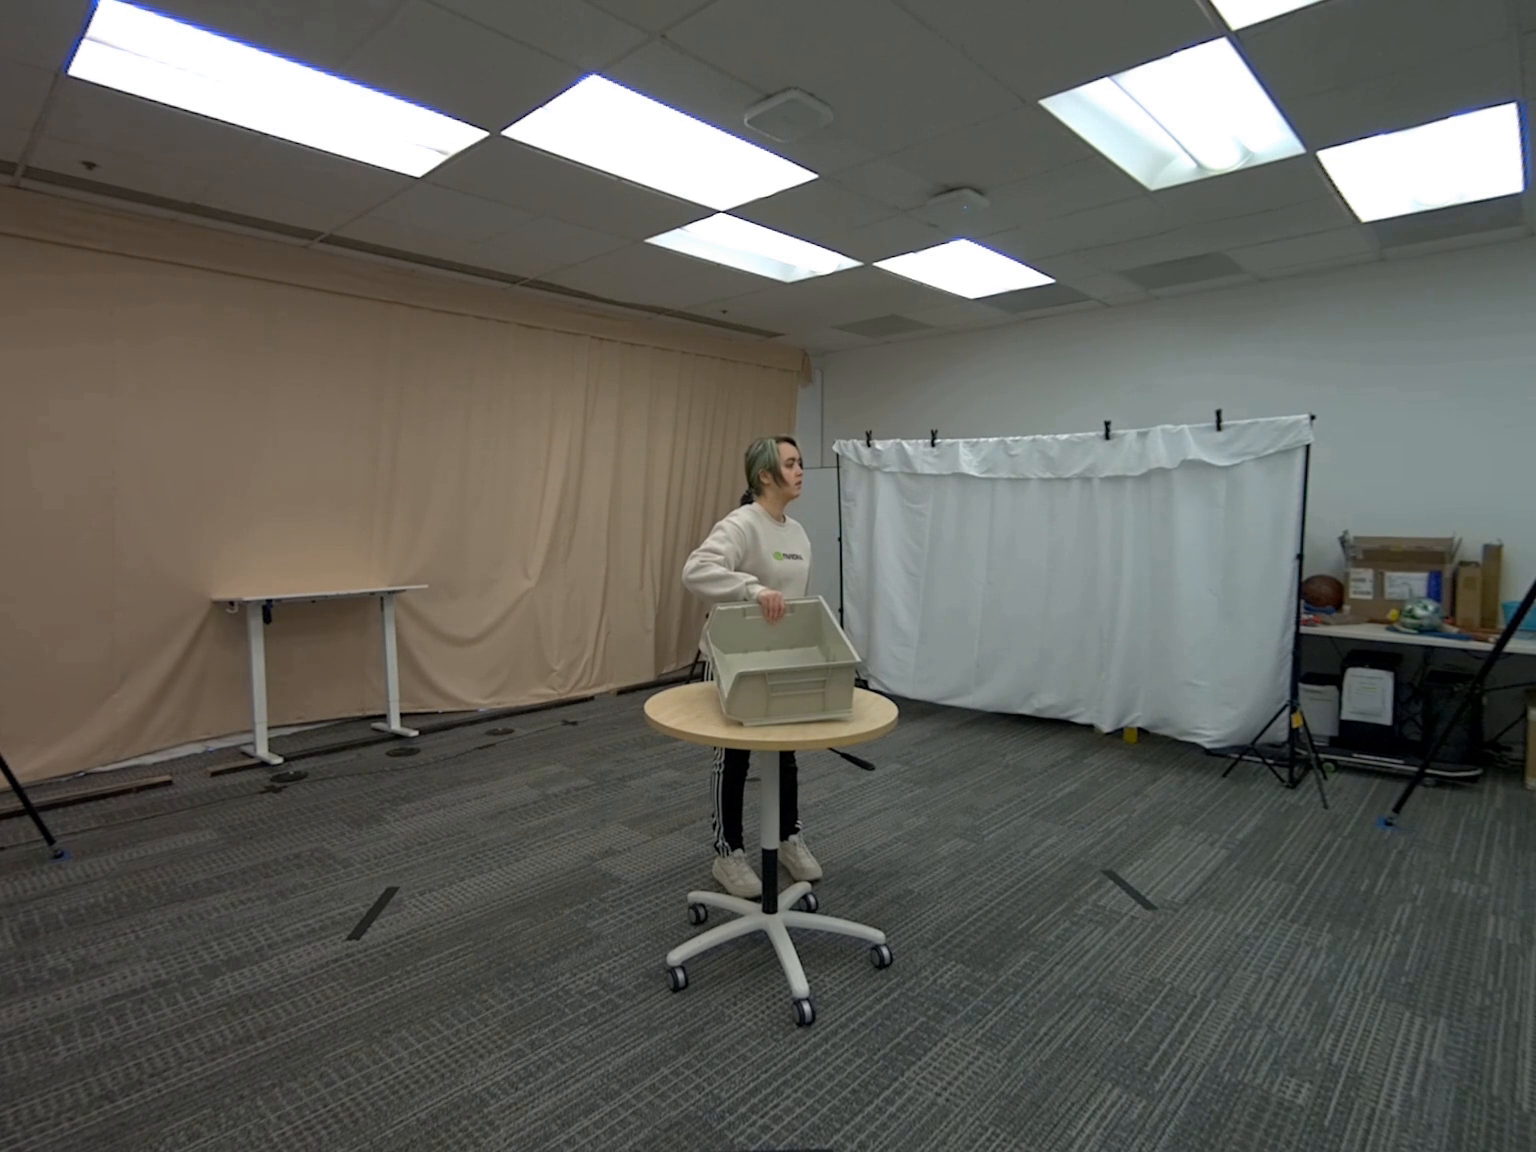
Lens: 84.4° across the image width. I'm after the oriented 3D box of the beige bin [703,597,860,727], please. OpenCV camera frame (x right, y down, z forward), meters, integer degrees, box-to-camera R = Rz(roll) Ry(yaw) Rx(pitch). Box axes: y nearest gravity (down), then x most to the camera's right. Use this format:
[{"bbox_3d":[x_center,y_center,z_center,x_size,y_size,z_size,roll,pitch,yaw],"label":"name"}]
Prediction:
[{"bbox_3d":[0.043,0.238,2.501,0.374,0.186,0.431,-1,23,-8],"label":"beige bin"}]
